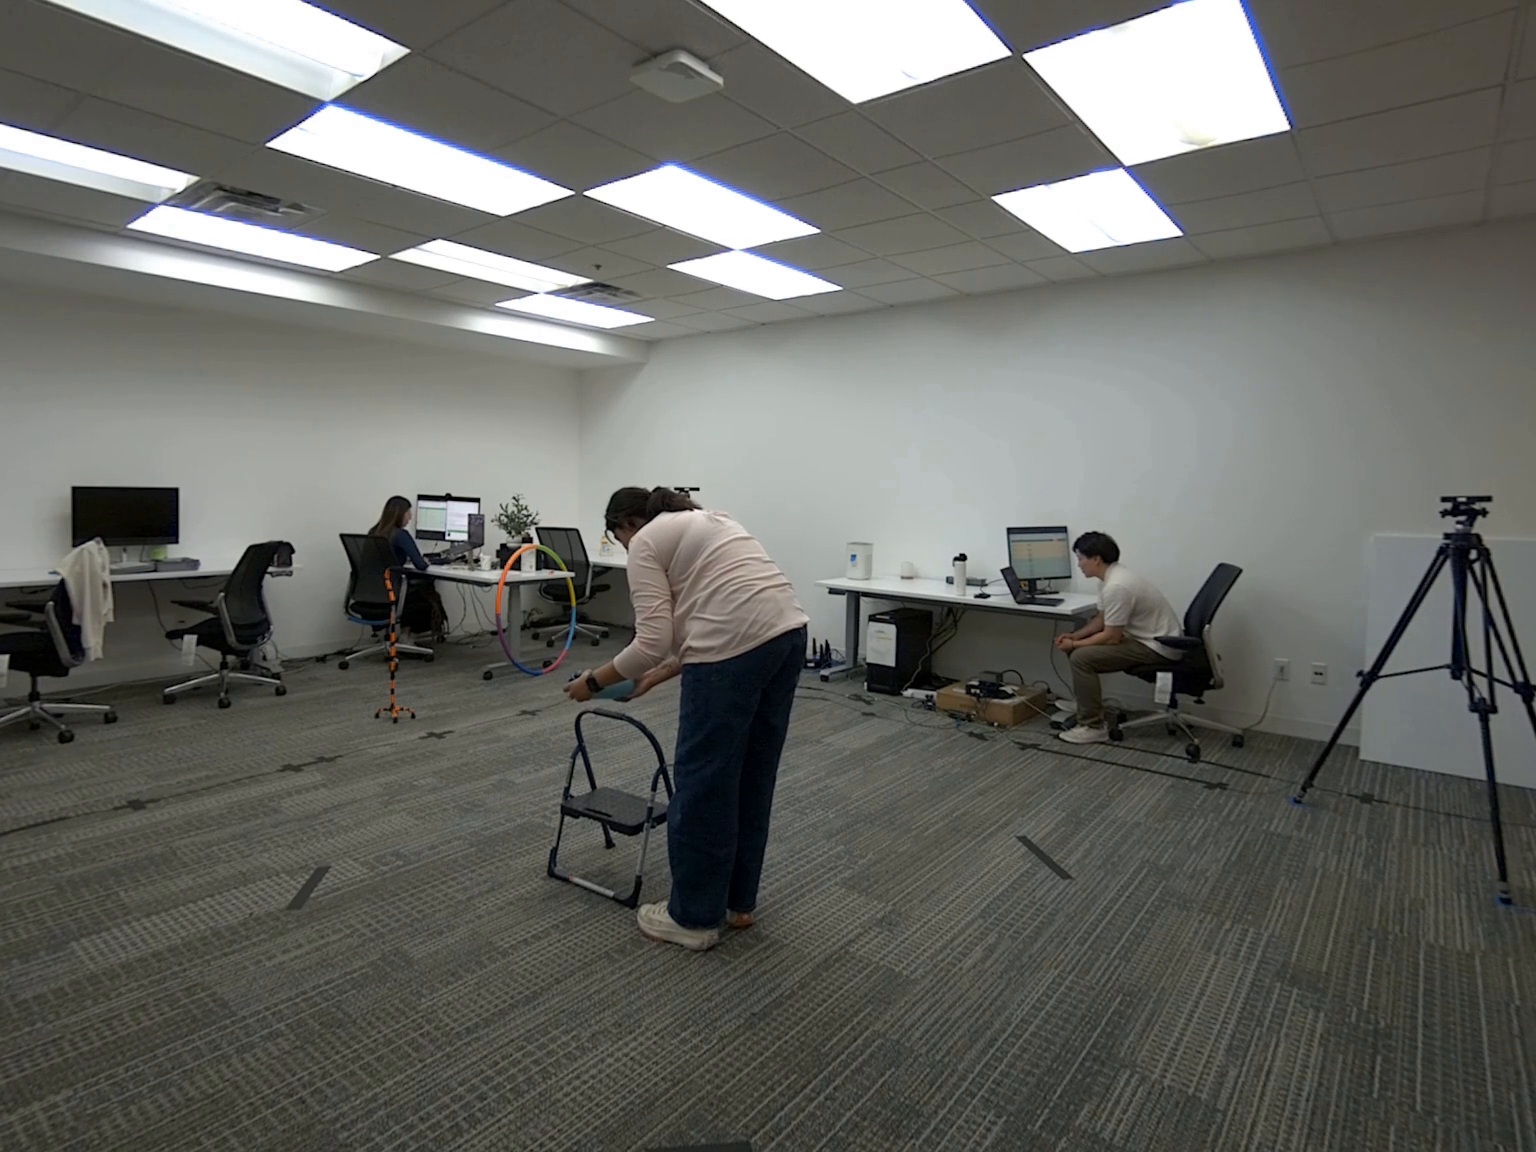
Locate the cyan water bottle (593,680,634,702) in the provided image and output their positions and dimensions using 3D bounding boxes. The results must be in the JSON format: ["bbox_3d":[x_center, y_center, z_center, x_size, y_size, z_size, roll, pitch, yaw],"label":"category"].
[{"bbox_3d":[-0.568,0.361,2.812,0.094,0.093,0.275,3,-5,22],"label":"cyan water bottle"}]
